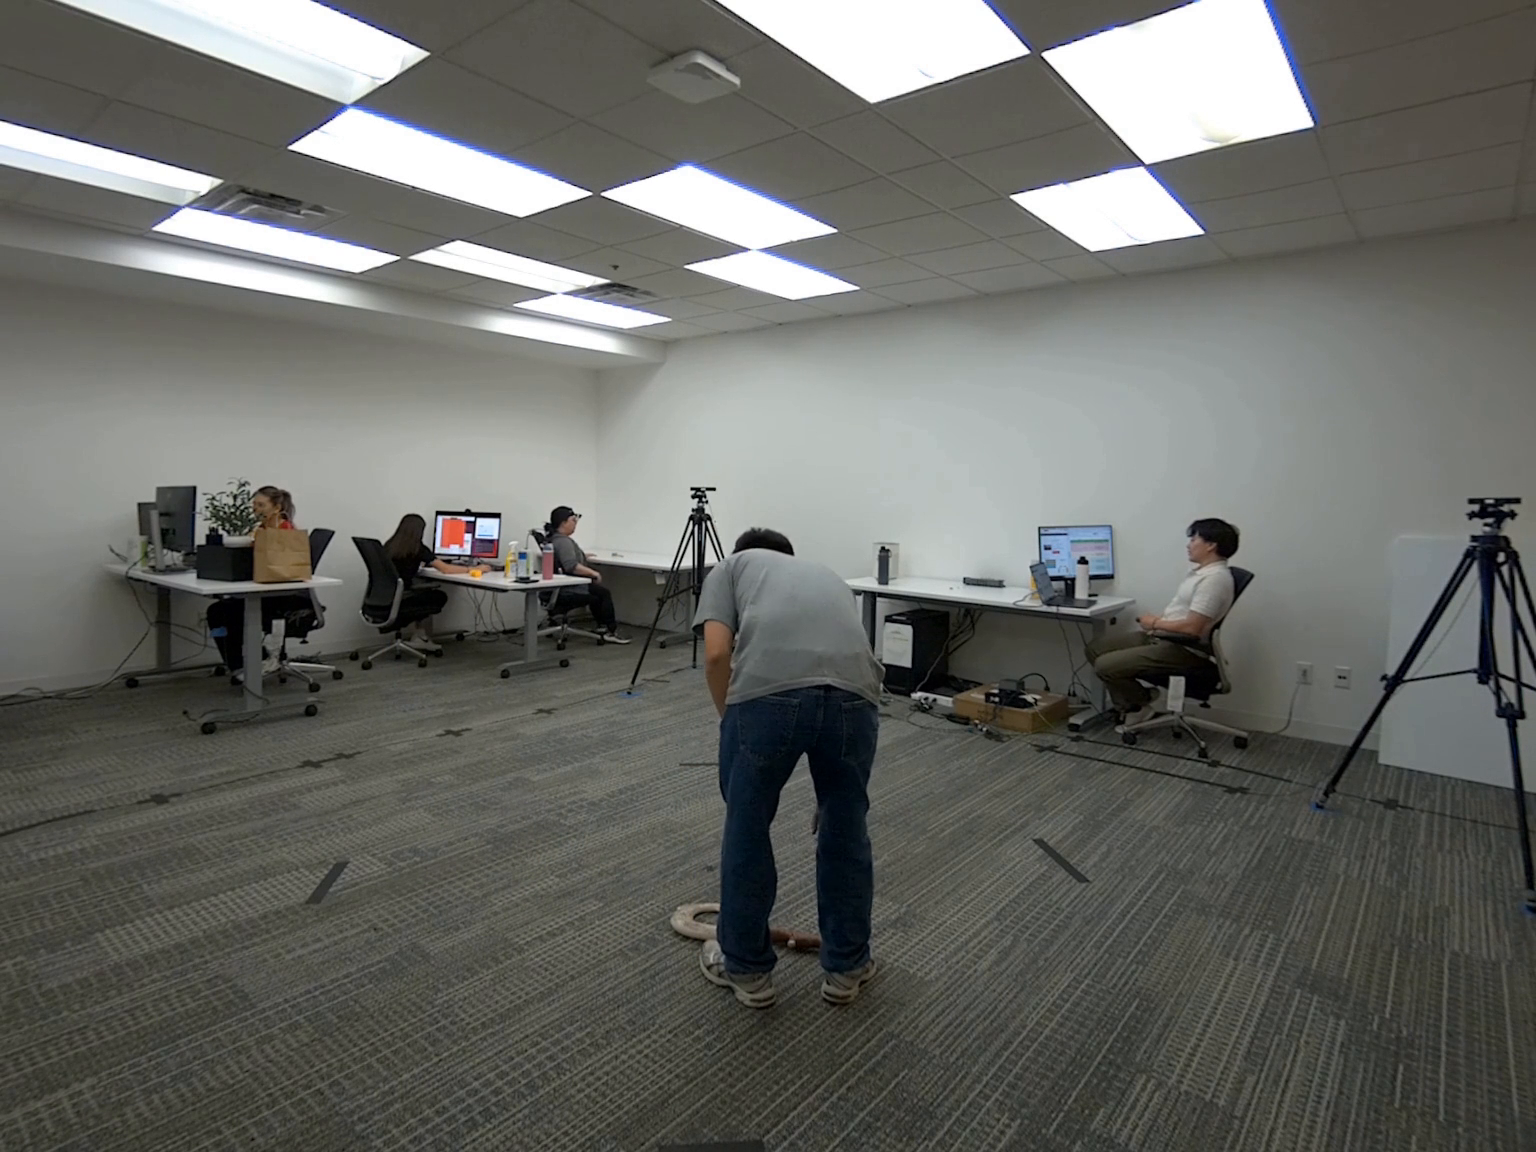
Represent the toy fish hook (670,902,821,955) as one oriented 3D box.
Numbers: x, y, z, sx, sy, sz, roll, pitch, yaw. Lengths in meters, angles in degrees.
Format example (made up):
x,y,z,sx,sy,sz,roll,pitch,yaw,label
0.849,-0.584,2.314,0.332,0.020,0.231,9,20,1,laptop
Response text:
x,y,z,sx,sy,sz,roll,pitch,yaw,label
-0.059,1.090,2.663,0.514,0.048,0.222,3,7,12,toy fish hook
